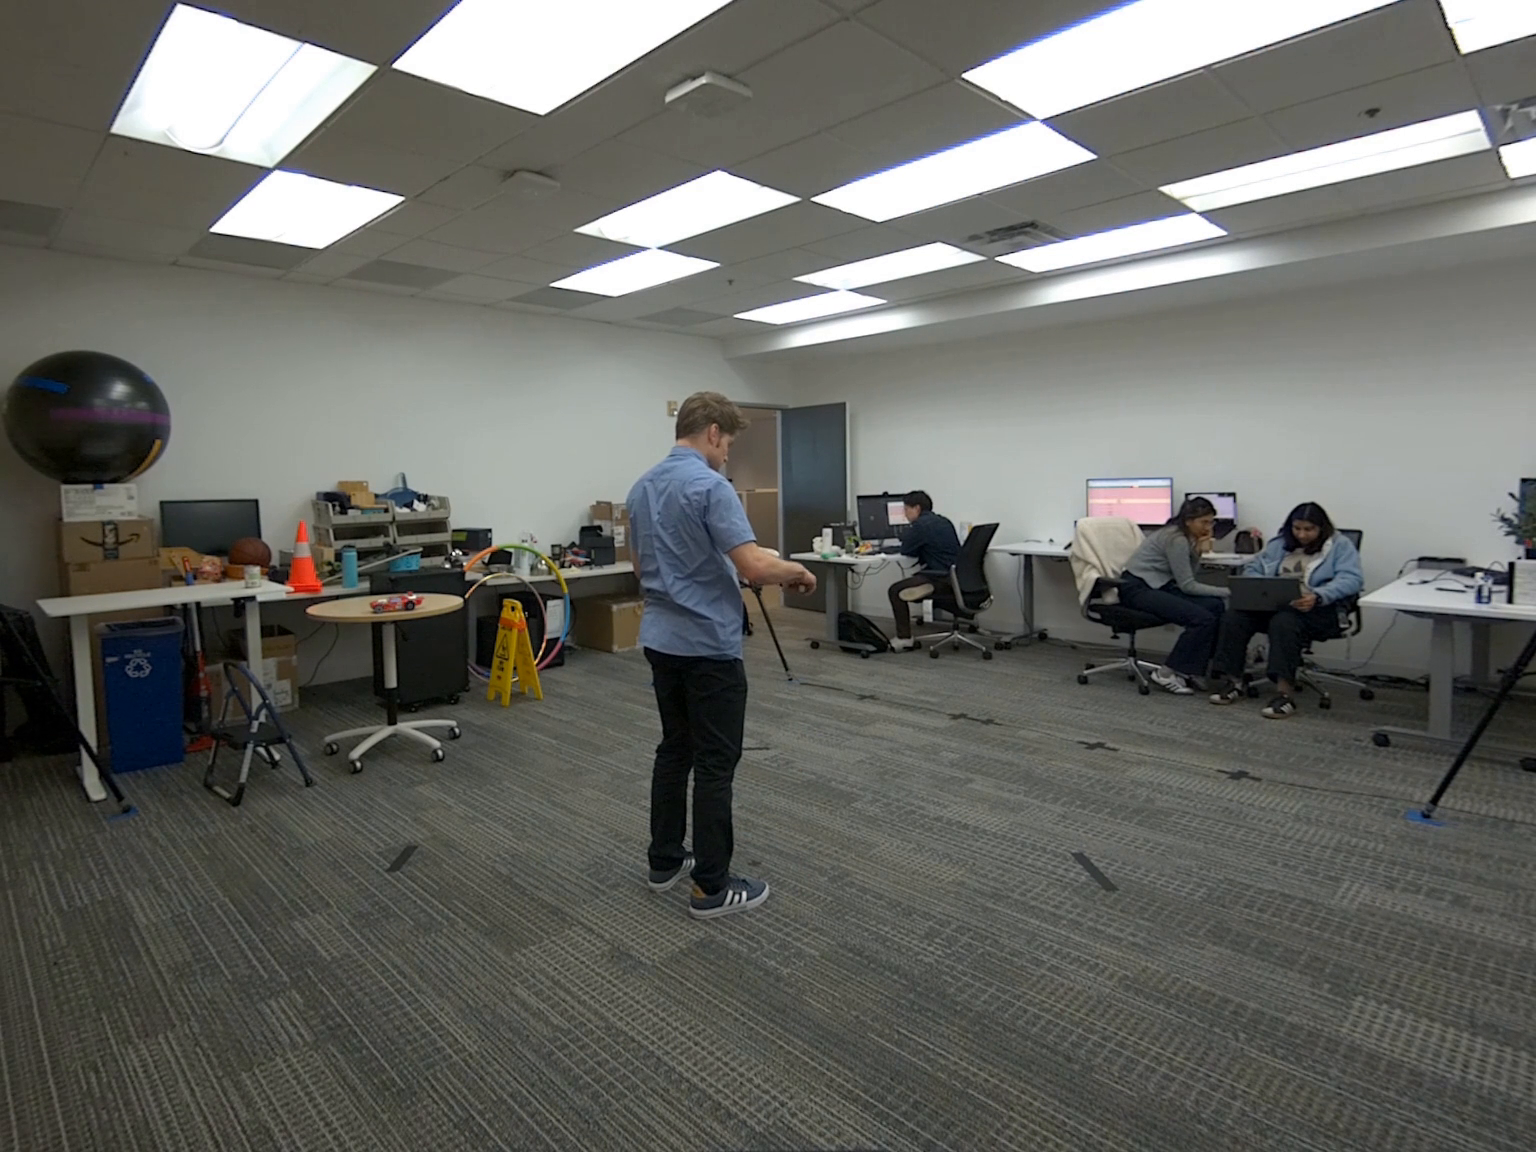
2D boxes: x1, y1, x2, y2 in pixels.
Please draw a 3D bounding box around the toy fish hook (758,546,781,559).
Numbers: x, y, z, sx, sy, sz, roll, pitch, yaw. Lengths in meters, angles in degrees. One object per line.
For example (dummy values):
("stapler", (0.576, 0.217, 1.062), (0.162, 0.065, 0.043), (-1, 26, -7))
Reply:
("toy fish hook", (-0.008, -0.039, 3.110), (0.221, 0.047, 0.525), (-25, 28, -34))
